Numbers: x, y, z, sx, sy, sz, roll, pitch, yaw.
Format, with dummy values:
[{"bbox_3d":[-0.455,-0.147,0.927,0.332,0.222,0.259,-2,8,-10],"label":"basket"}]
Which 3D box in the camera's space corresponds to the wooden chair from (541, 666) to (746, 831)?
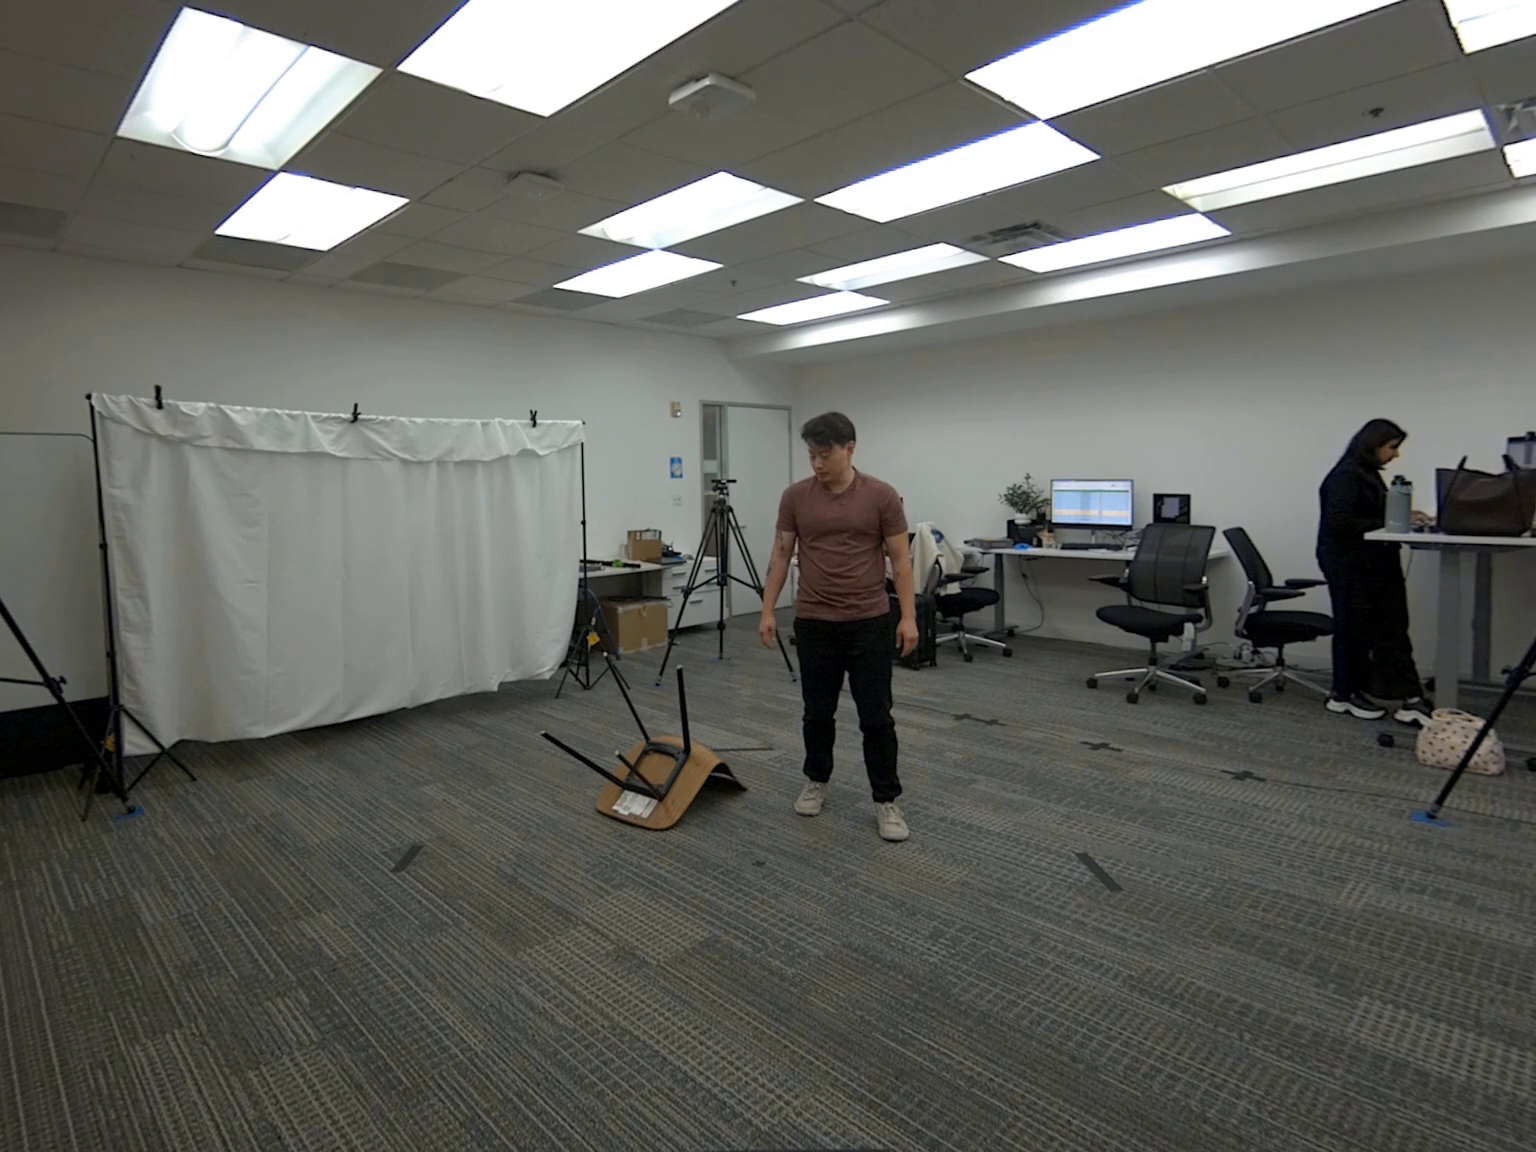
[{"bbox_3d":[-0.483,0.822,3.650,0.492,0.847,0.526,2,45,37],"label":"wooden chair"}]
